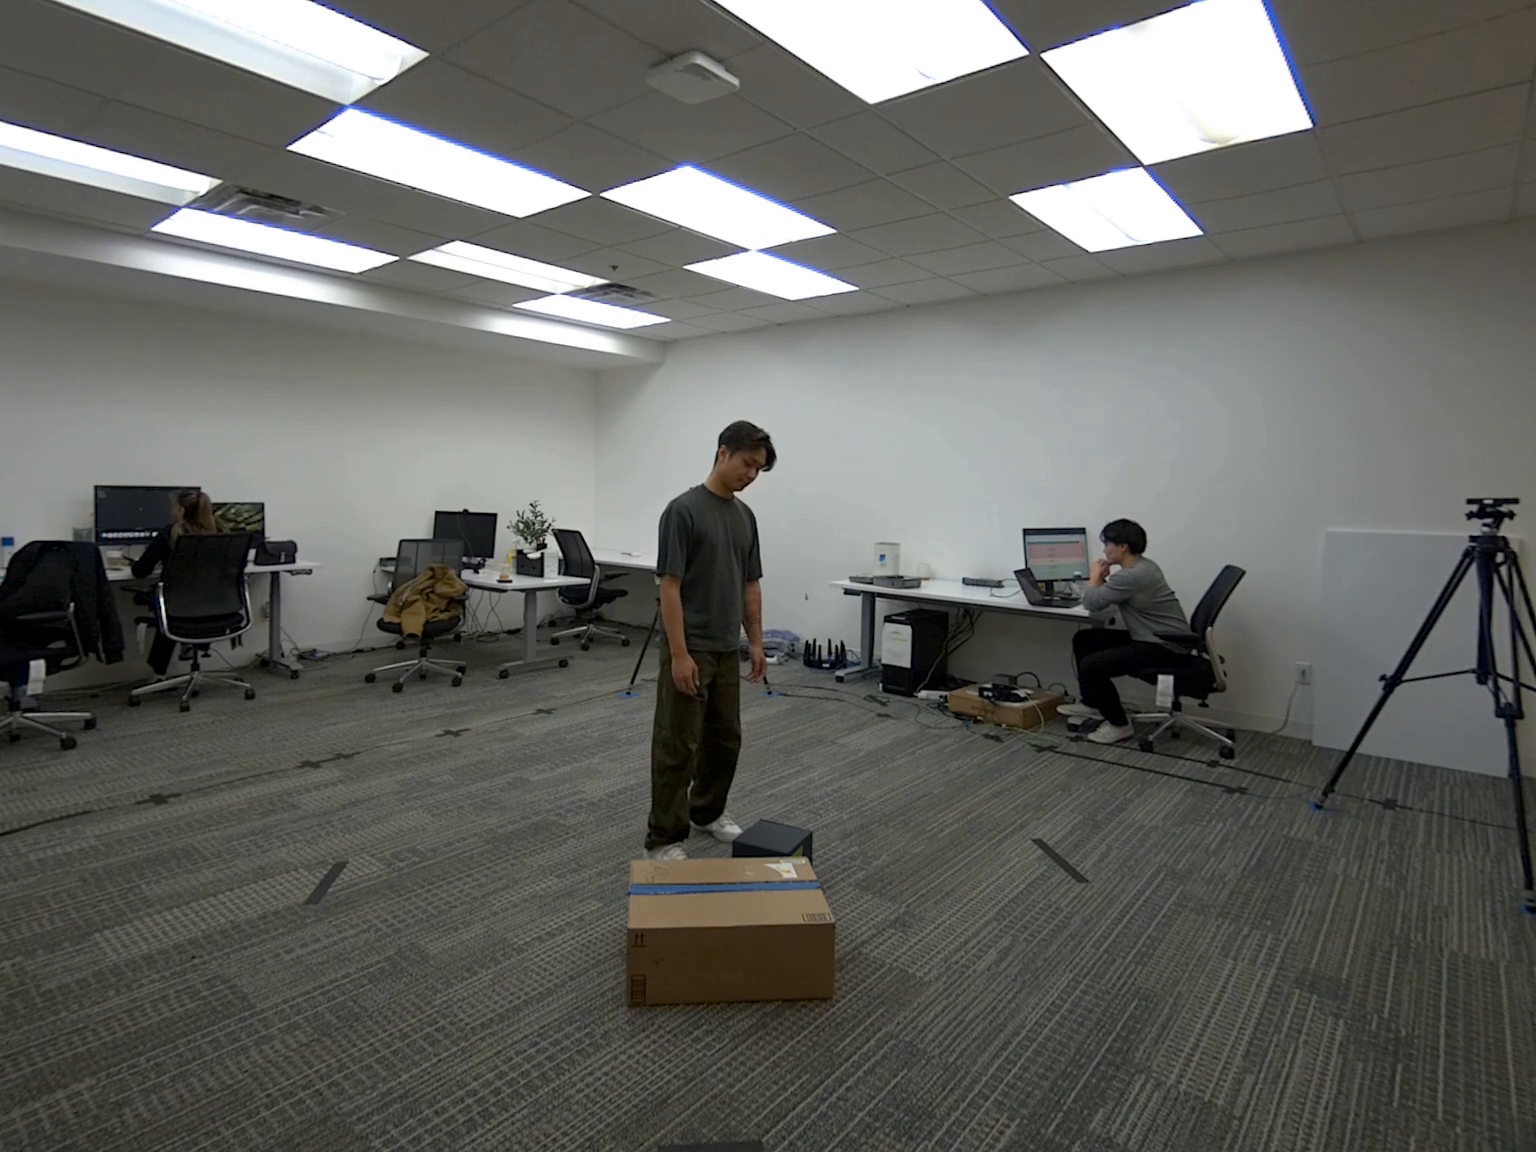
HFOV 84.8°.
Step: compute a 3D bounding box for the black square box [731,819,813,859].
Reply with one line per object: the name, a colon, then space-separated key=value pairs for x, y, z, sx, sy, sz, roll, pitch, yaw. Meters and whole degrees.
black square box: x=0.008 y=0.994 z=3.036 sx=0.223 sy=0.155 sz=0.222 roll=4 pitch=5 yaw=26
